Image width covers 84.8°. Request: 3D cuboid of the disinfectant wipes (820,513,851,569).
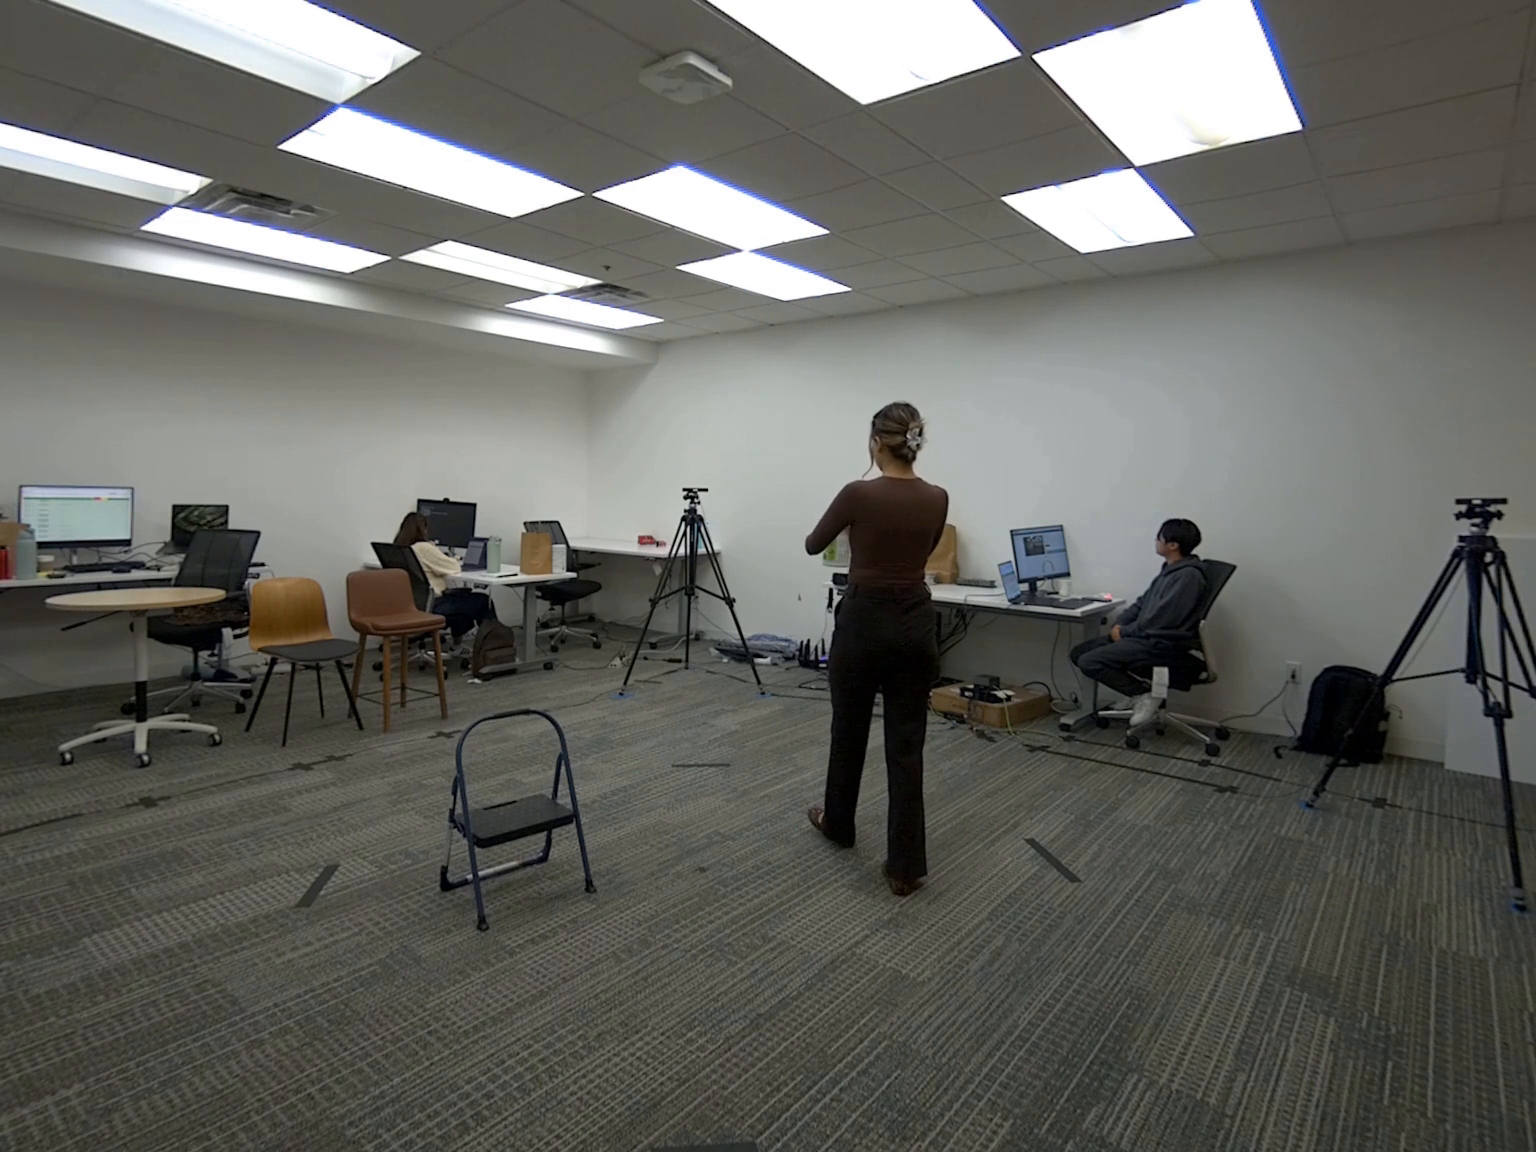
[{"bbox_3d":[0.288,-0.151,3.511,0.117,0.217,0.118,3,4,-2],"label":"disinfectant wipes"}]
